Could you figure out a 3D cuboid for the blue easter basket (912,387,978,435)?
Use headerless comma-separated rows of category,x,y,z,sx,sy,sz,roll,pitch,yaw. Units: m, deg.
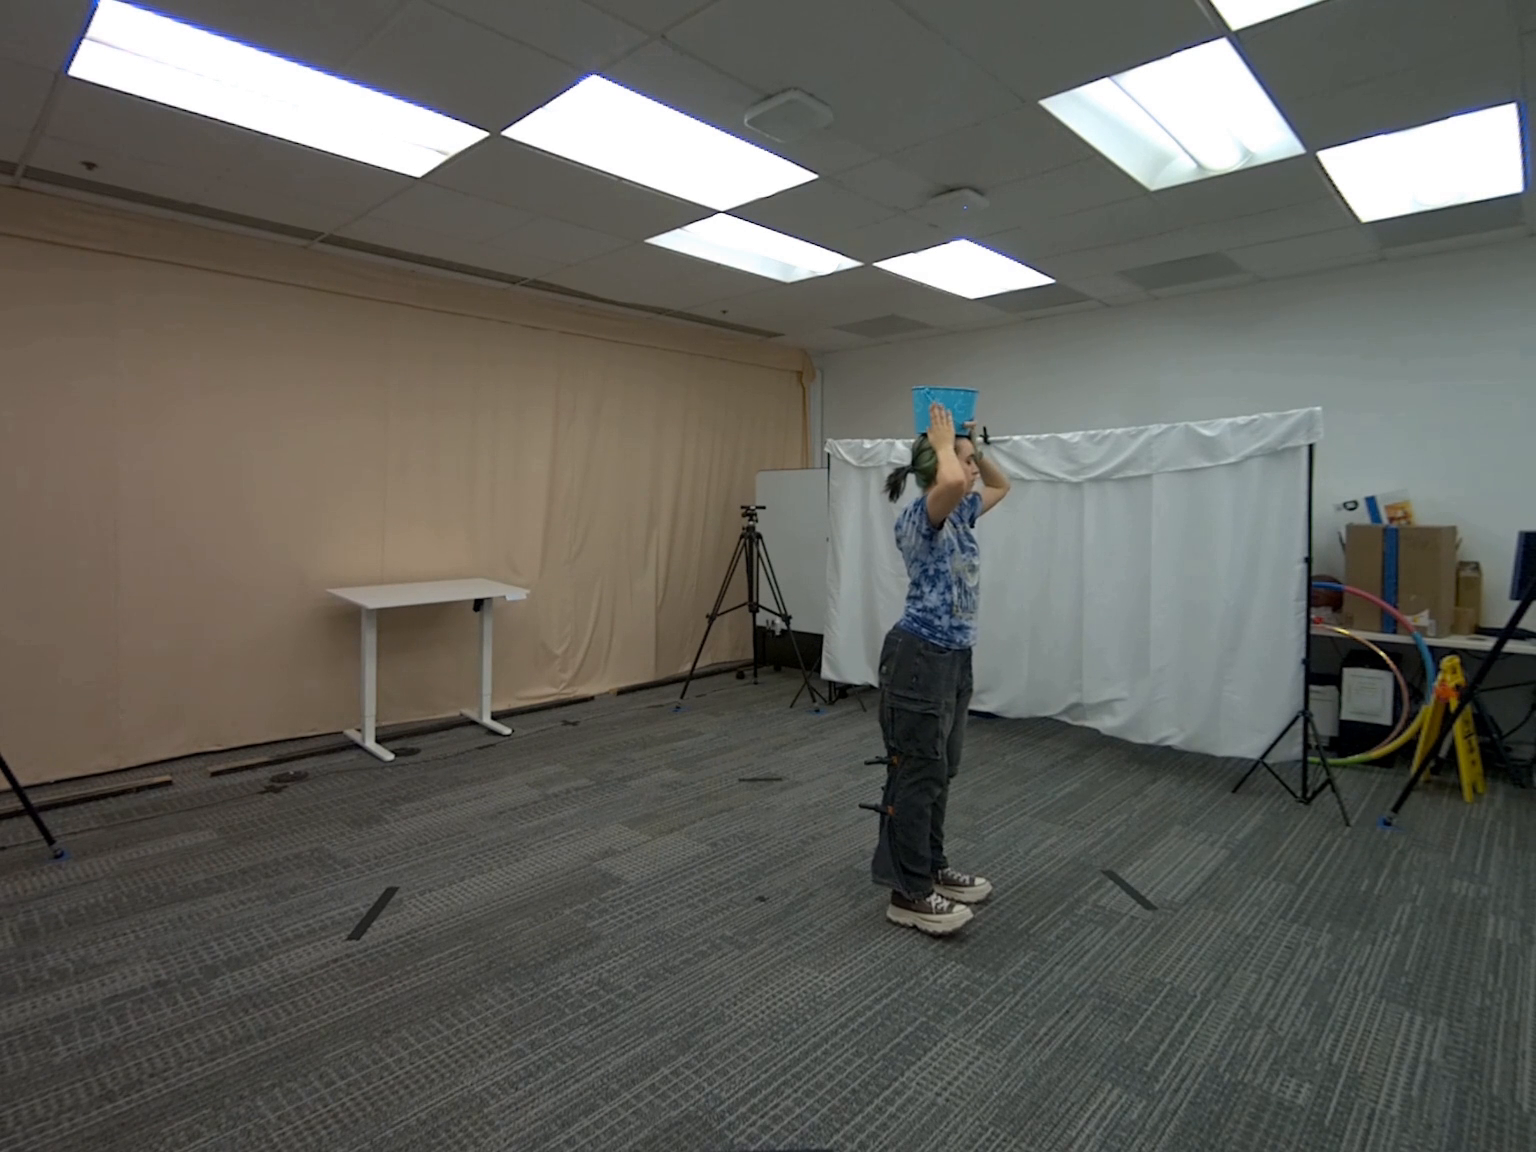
blue easter basket,0.619,-0.571,2.913,0.243,0.155,0.245,3,10,-2
